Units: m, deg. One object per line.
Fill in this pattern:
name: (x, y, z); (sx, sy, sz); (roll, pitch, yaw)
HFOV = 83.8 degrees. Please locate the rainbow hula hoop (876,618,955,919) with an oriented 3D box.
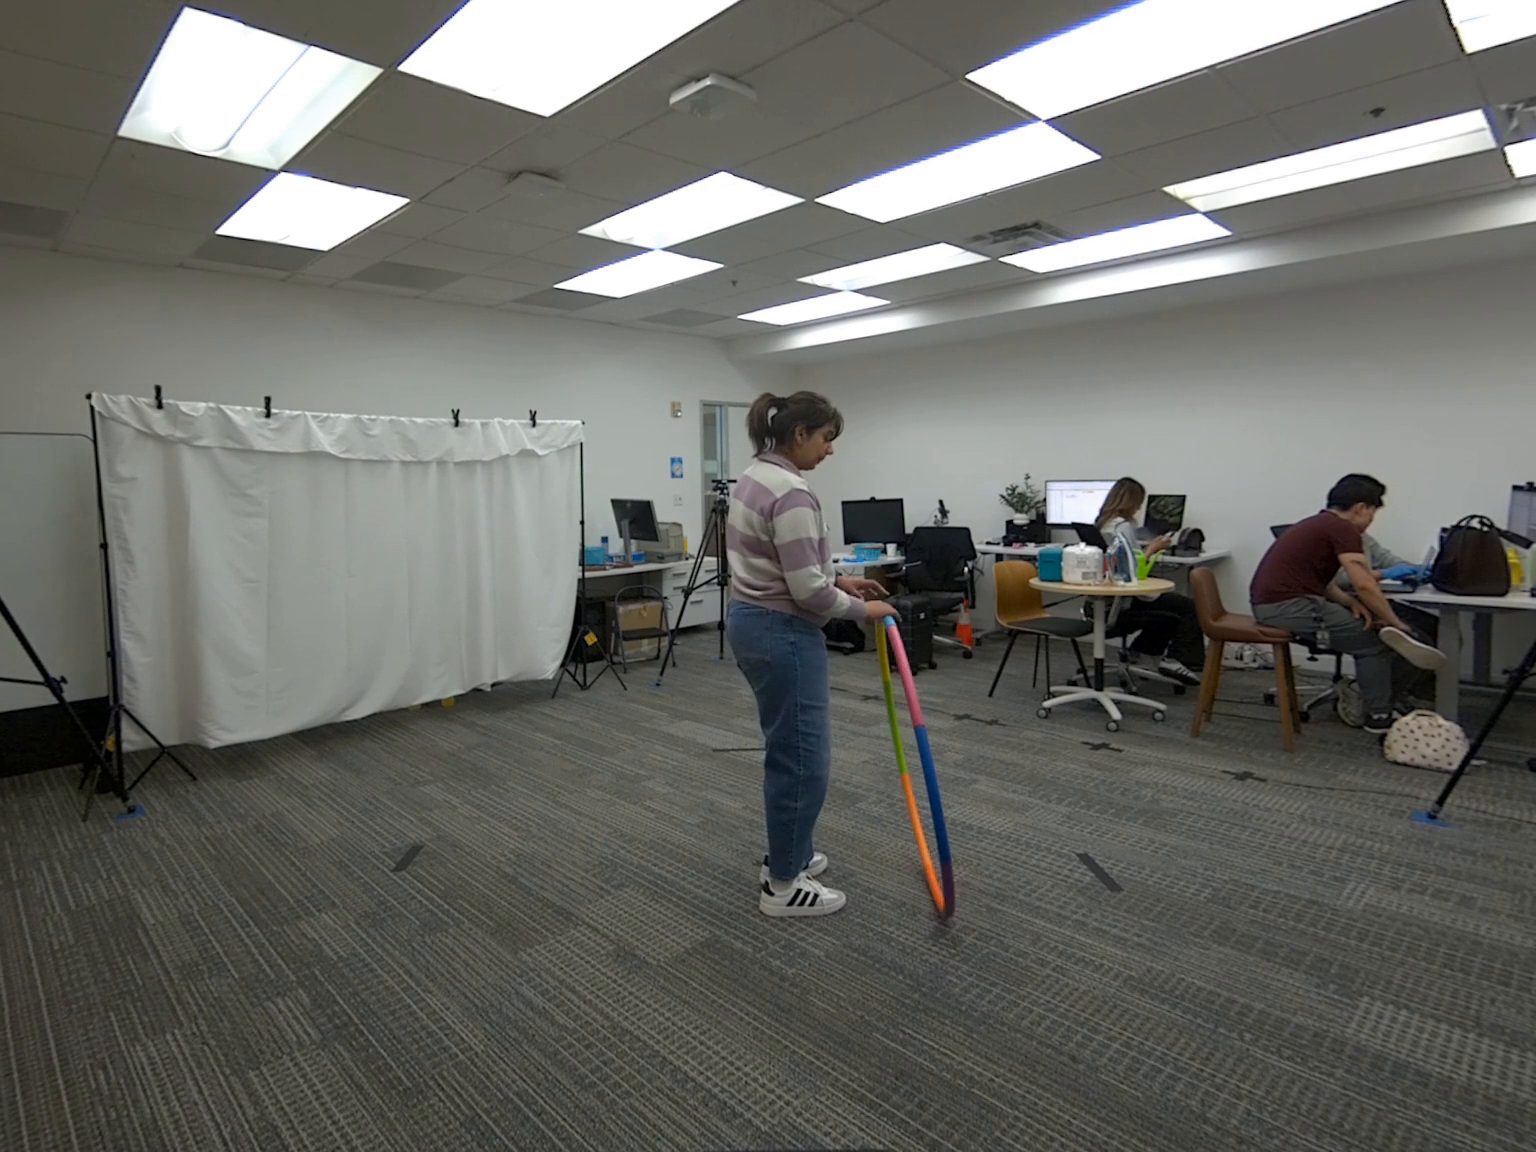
rainbow hula hoop: (0.471, 0.591, 2.811); (0.052, 0.982, 0.986); (-10, 4, 2)
